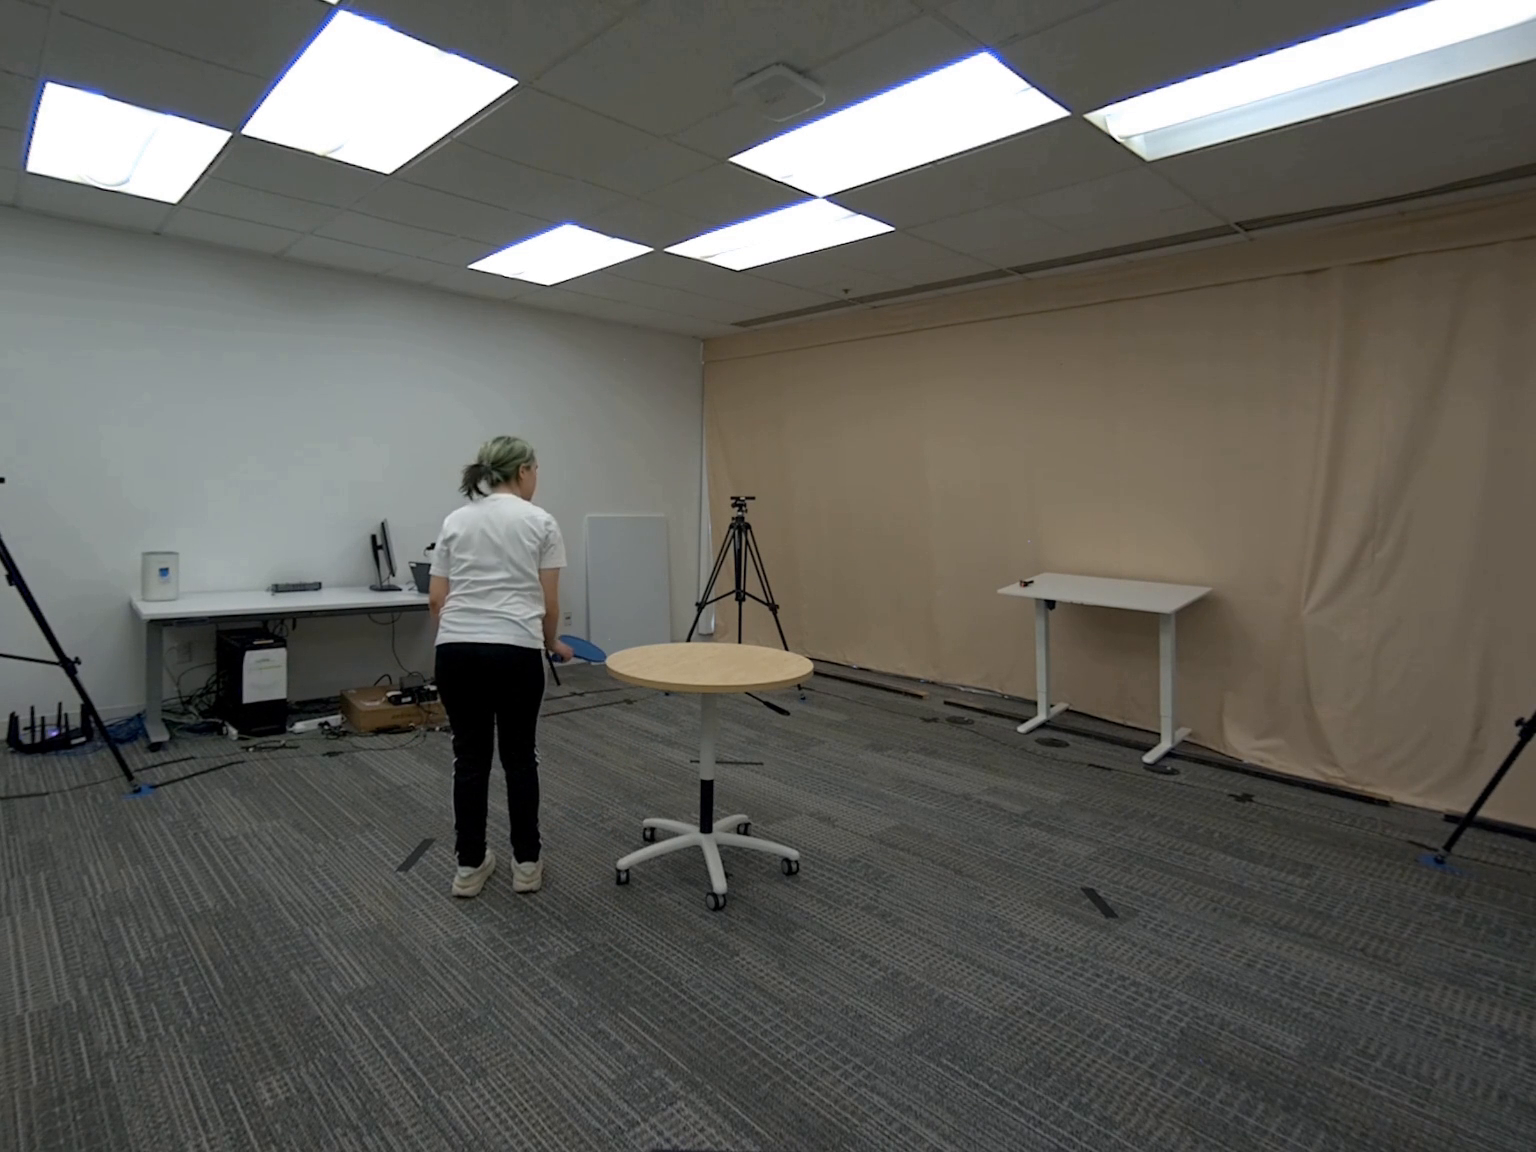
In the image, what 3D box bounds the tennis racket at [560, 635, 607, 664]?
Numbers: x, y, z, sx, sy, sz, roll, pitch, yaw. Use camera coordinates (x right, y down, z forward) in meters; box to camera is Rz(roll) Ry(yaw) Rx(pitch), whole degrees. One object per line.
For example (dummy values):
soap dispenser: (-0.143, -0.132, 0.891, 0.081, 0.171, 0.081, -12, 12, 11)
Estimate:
tennis racket: (-0.774, 0.315, 3.366, 0.215, 0.032, 0.431, 21, 5, 5)
